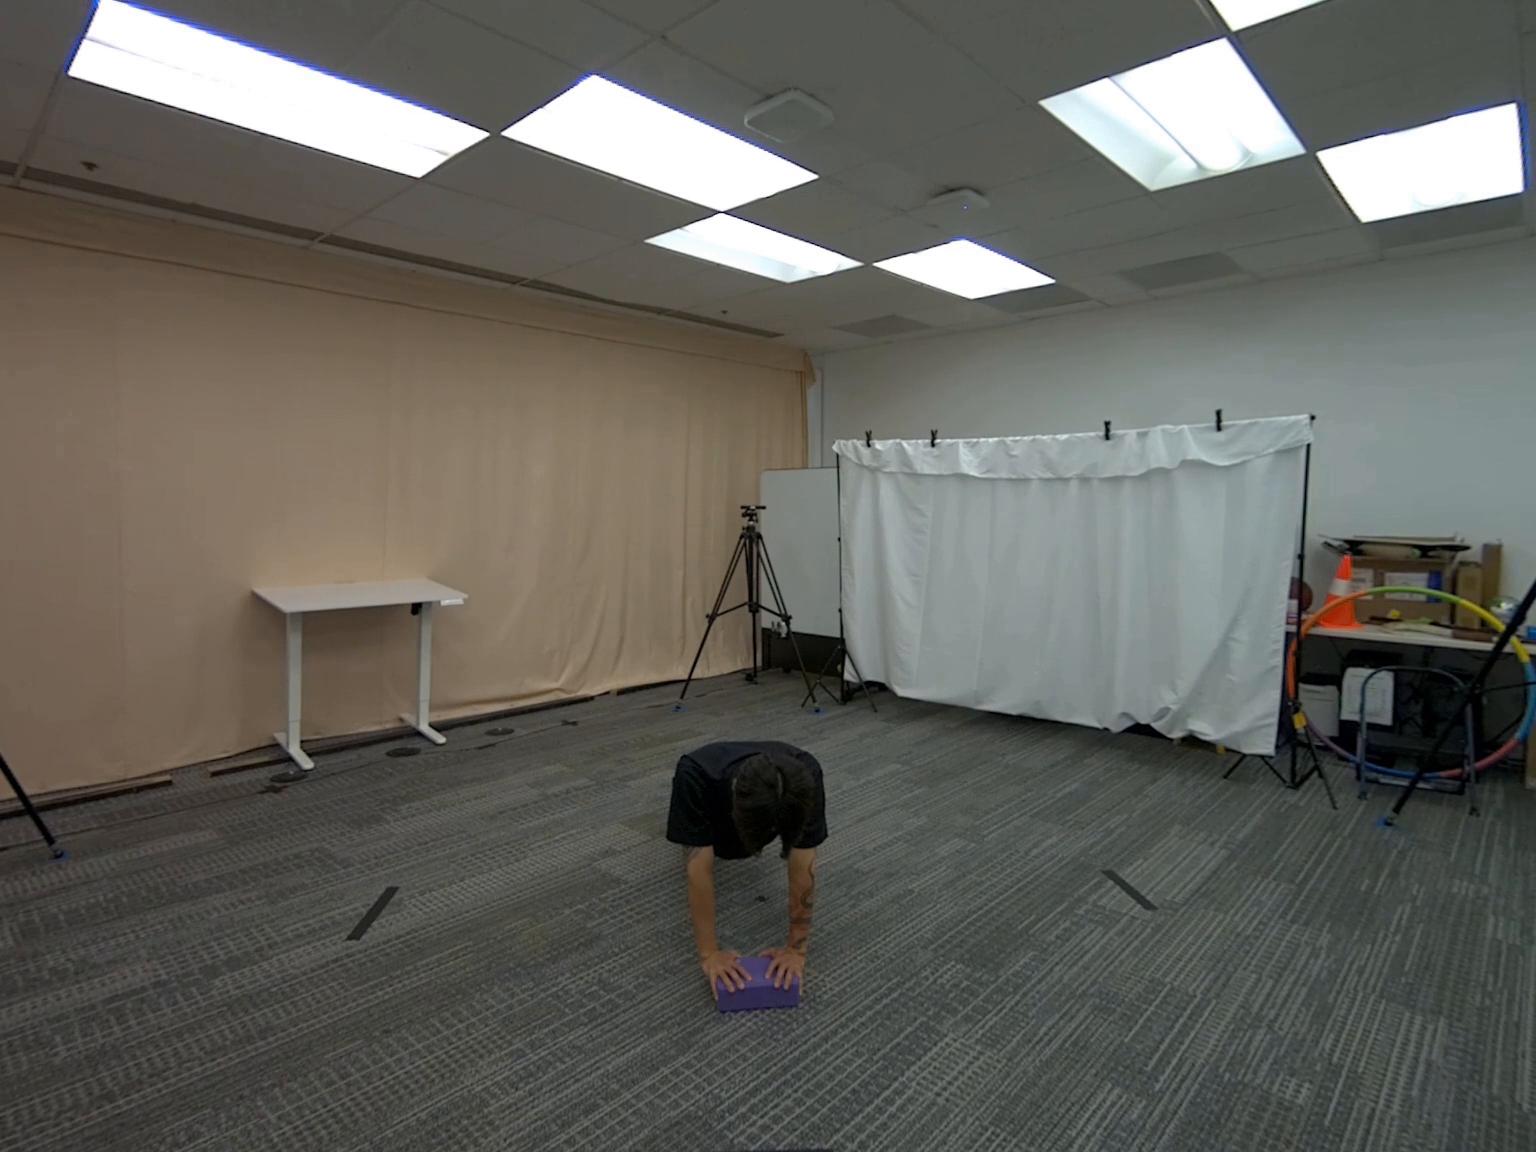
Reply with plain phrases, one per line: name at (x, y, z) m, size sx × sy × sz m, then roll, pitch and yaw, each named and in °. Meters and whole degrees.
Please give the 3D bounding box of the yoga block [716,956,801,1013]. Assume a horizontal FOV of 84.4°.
yoga block at (-0.035, 1.151, 2.394) m, size 0.227 × 0.076 × 0.150 m, roll 0°, pitch 4°, yaw -8°
